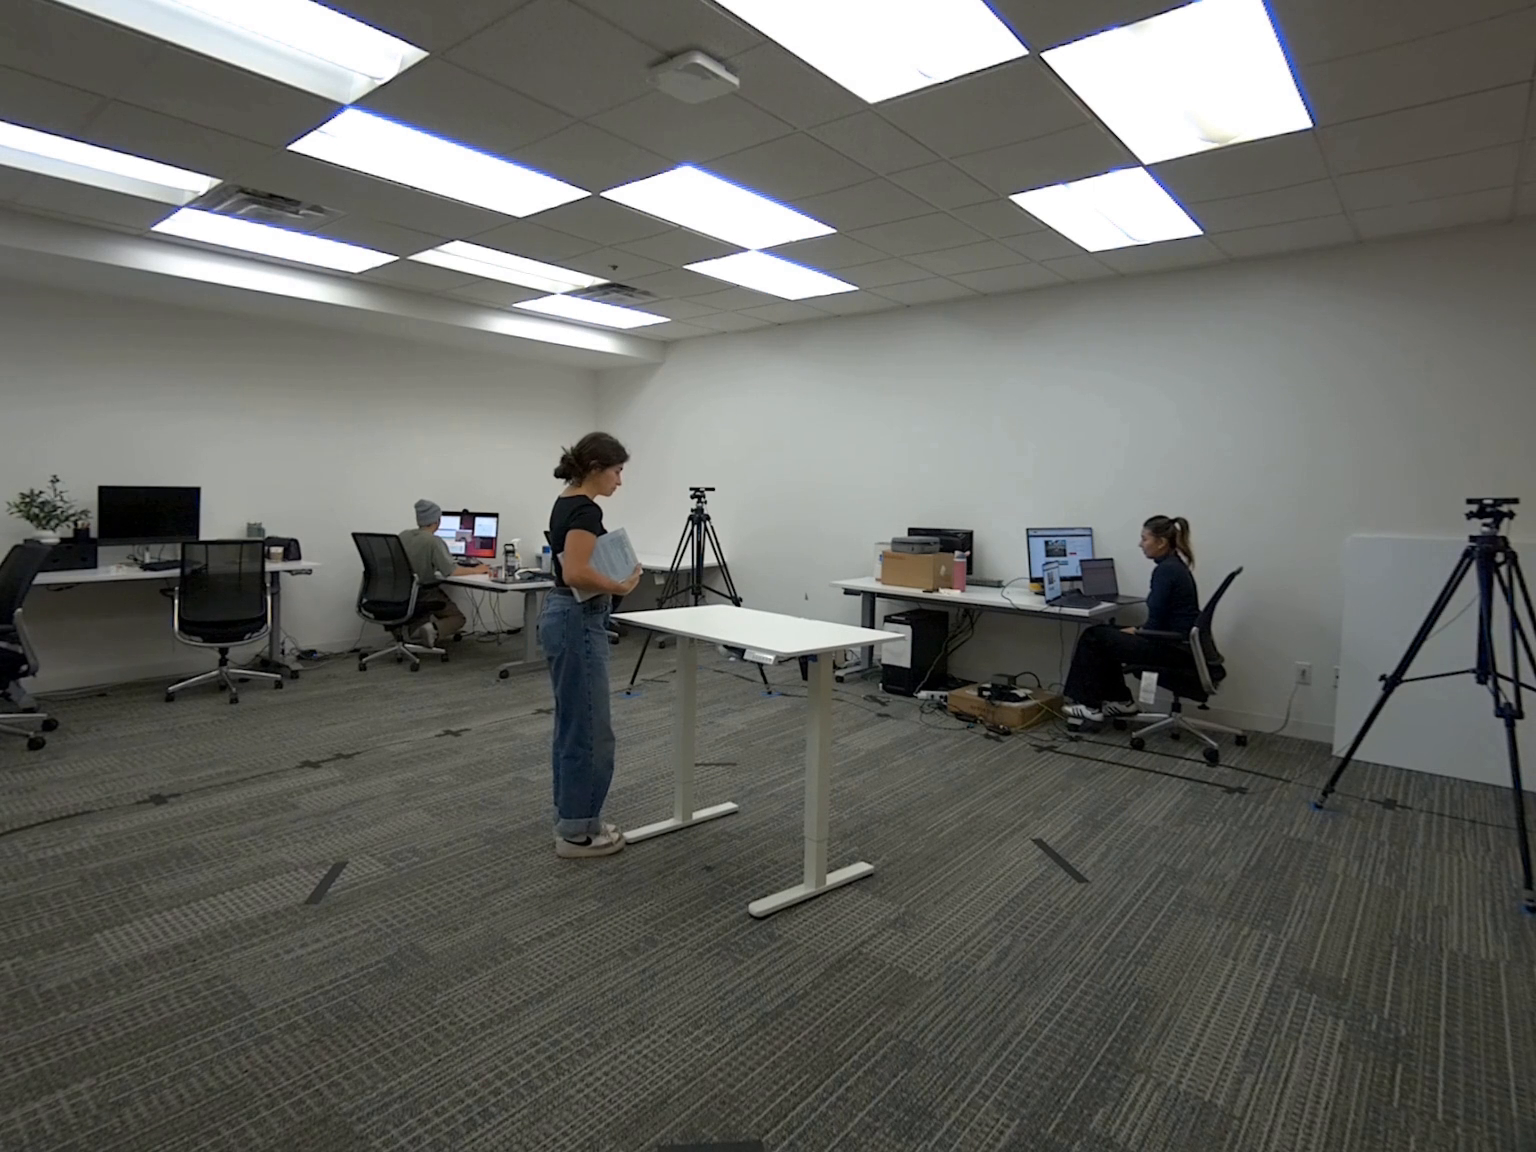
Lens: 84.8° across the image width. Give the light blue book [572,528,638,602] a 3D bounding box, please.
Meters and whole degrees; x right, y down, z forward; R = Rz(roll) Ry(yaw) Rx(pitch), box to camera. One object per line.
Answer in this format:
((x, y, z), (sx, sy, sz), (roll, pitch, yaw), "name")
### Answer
((-0.621, -0.045, 3.120), (0.257, 0.191, 0.060), (-24, 2, -24), "light blue book")
